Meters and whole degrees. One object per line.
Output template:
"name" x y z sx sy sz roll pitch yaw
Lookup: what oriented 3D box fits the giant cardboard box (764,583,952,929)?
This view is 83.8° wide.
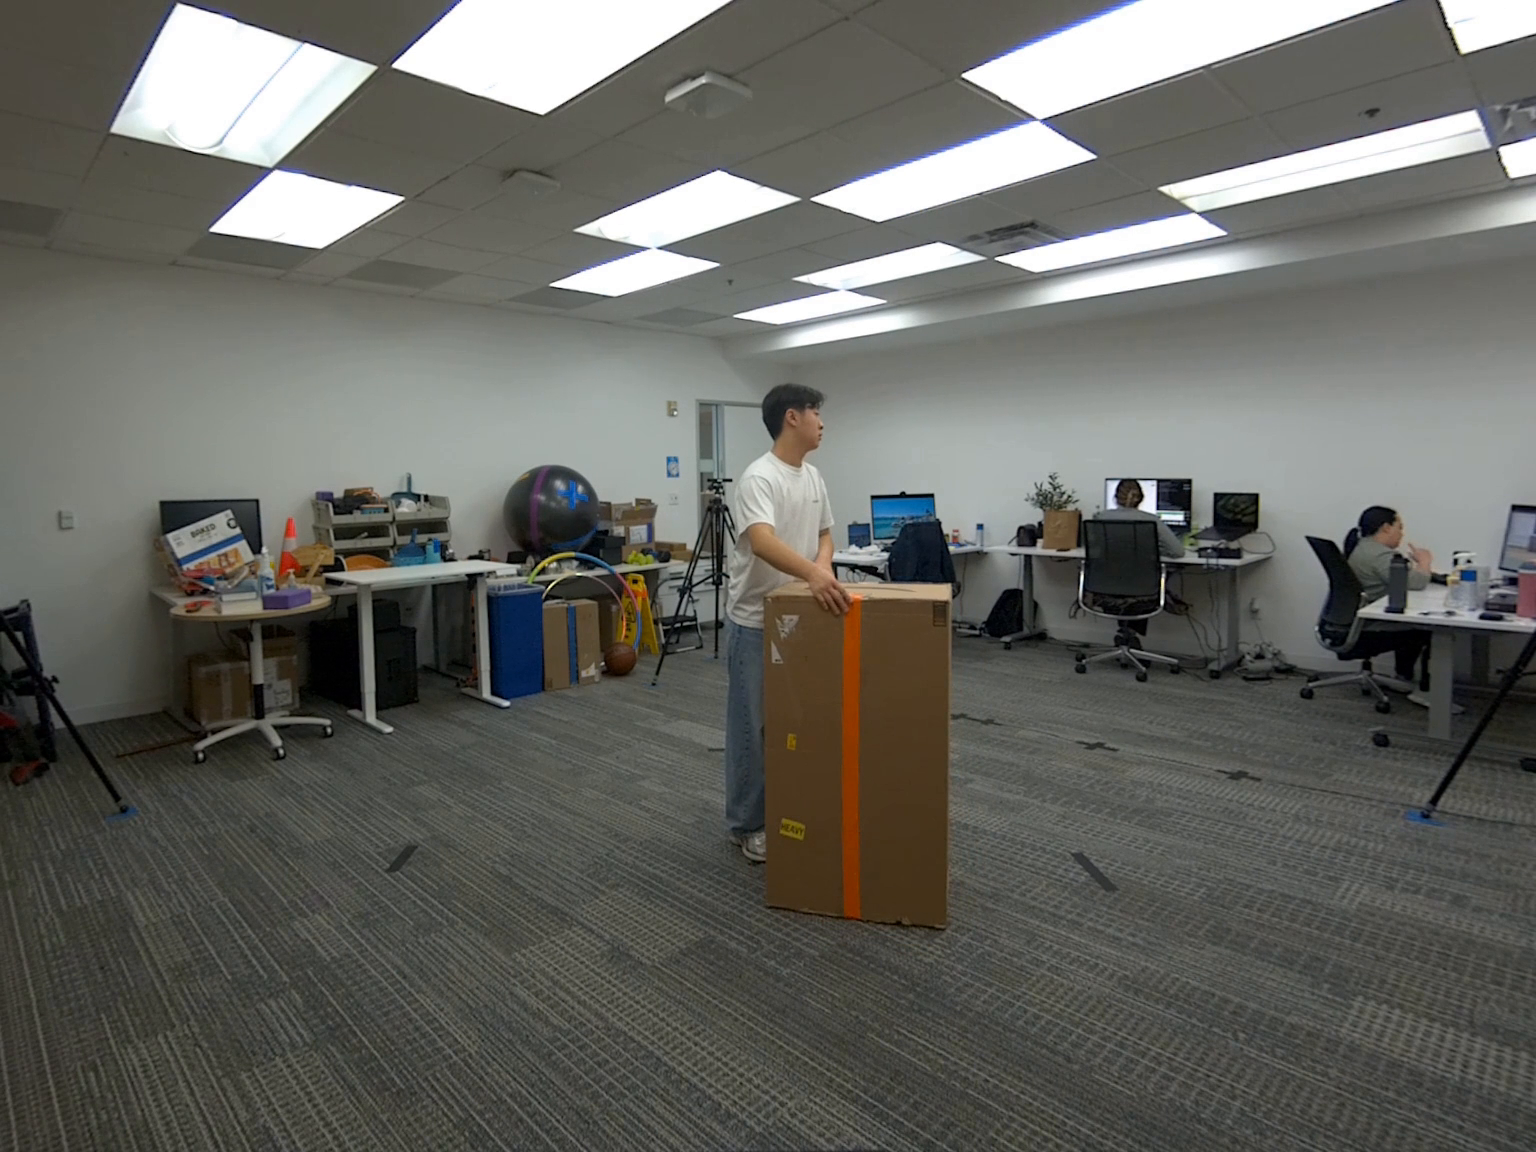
"giant cardboard box" 0.320 0.552 2.867 0.586 1.023 0.421 0 3 15
